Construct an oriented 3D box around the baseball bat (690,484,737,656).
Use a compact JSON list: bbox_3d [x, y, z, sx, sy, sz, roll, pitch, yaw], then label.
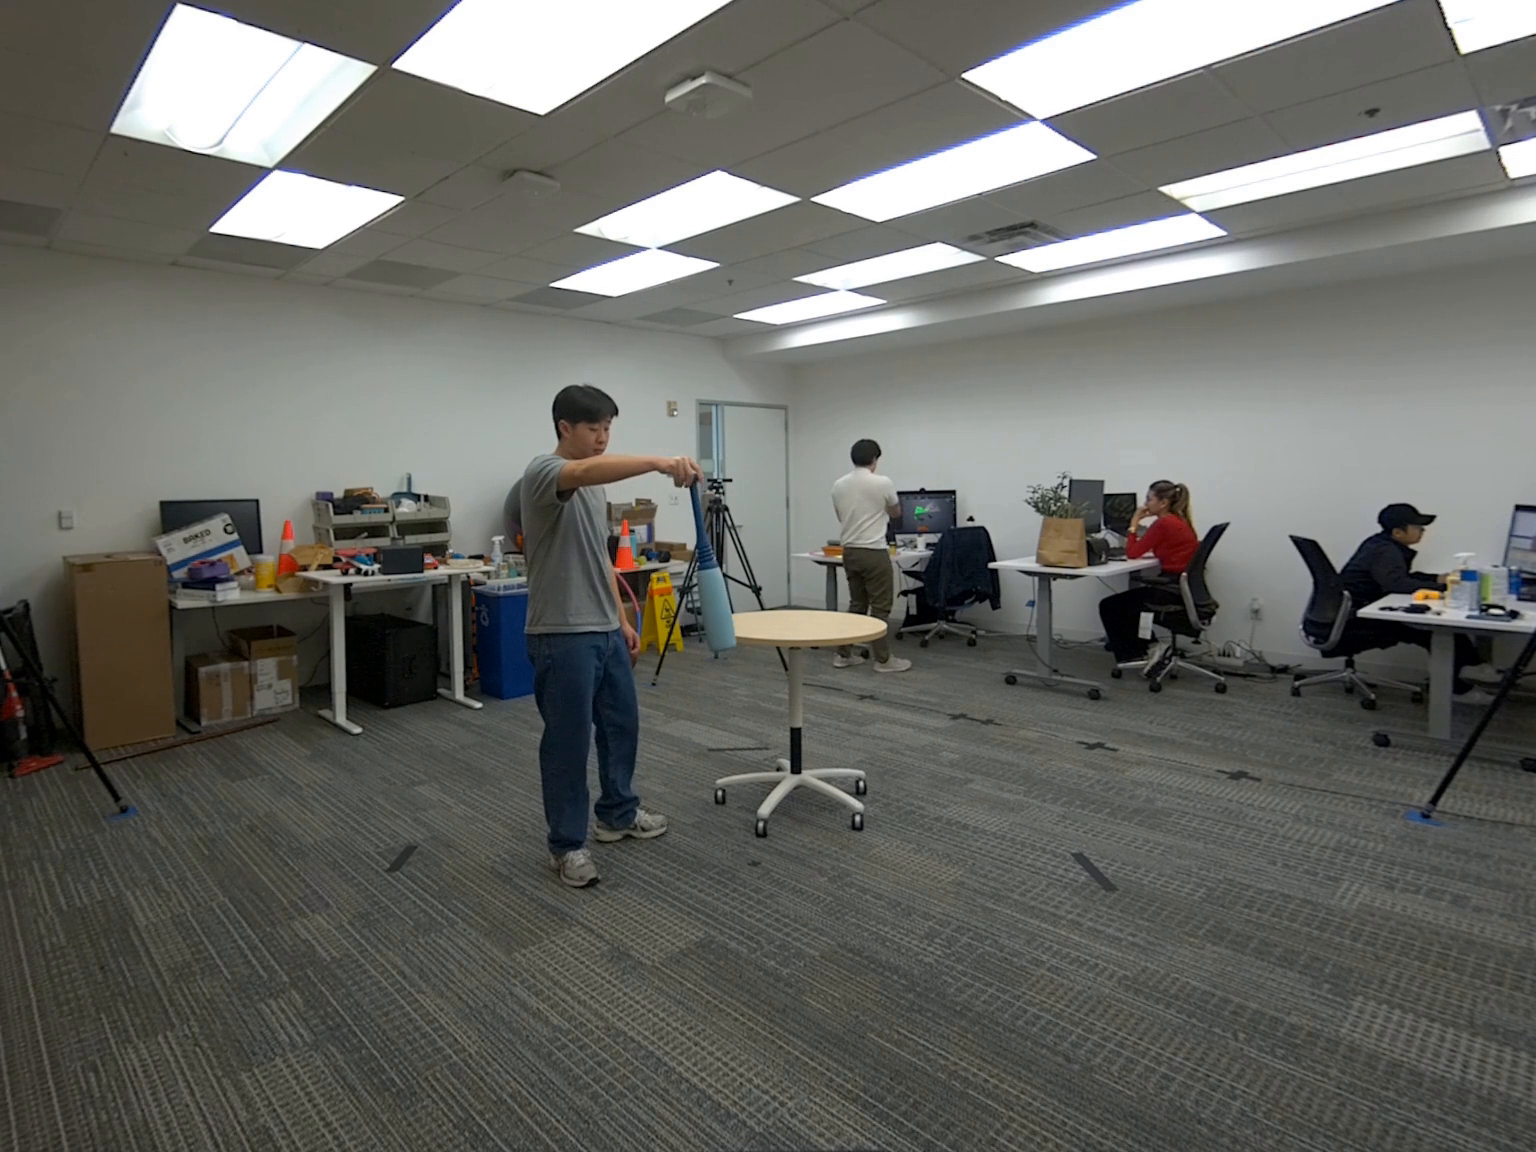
[{"bbox_3d":[-0.192,-0.036,2.588,0.089,0.543,0.089,-10,0,-1],"label":"baseball bat"}]
